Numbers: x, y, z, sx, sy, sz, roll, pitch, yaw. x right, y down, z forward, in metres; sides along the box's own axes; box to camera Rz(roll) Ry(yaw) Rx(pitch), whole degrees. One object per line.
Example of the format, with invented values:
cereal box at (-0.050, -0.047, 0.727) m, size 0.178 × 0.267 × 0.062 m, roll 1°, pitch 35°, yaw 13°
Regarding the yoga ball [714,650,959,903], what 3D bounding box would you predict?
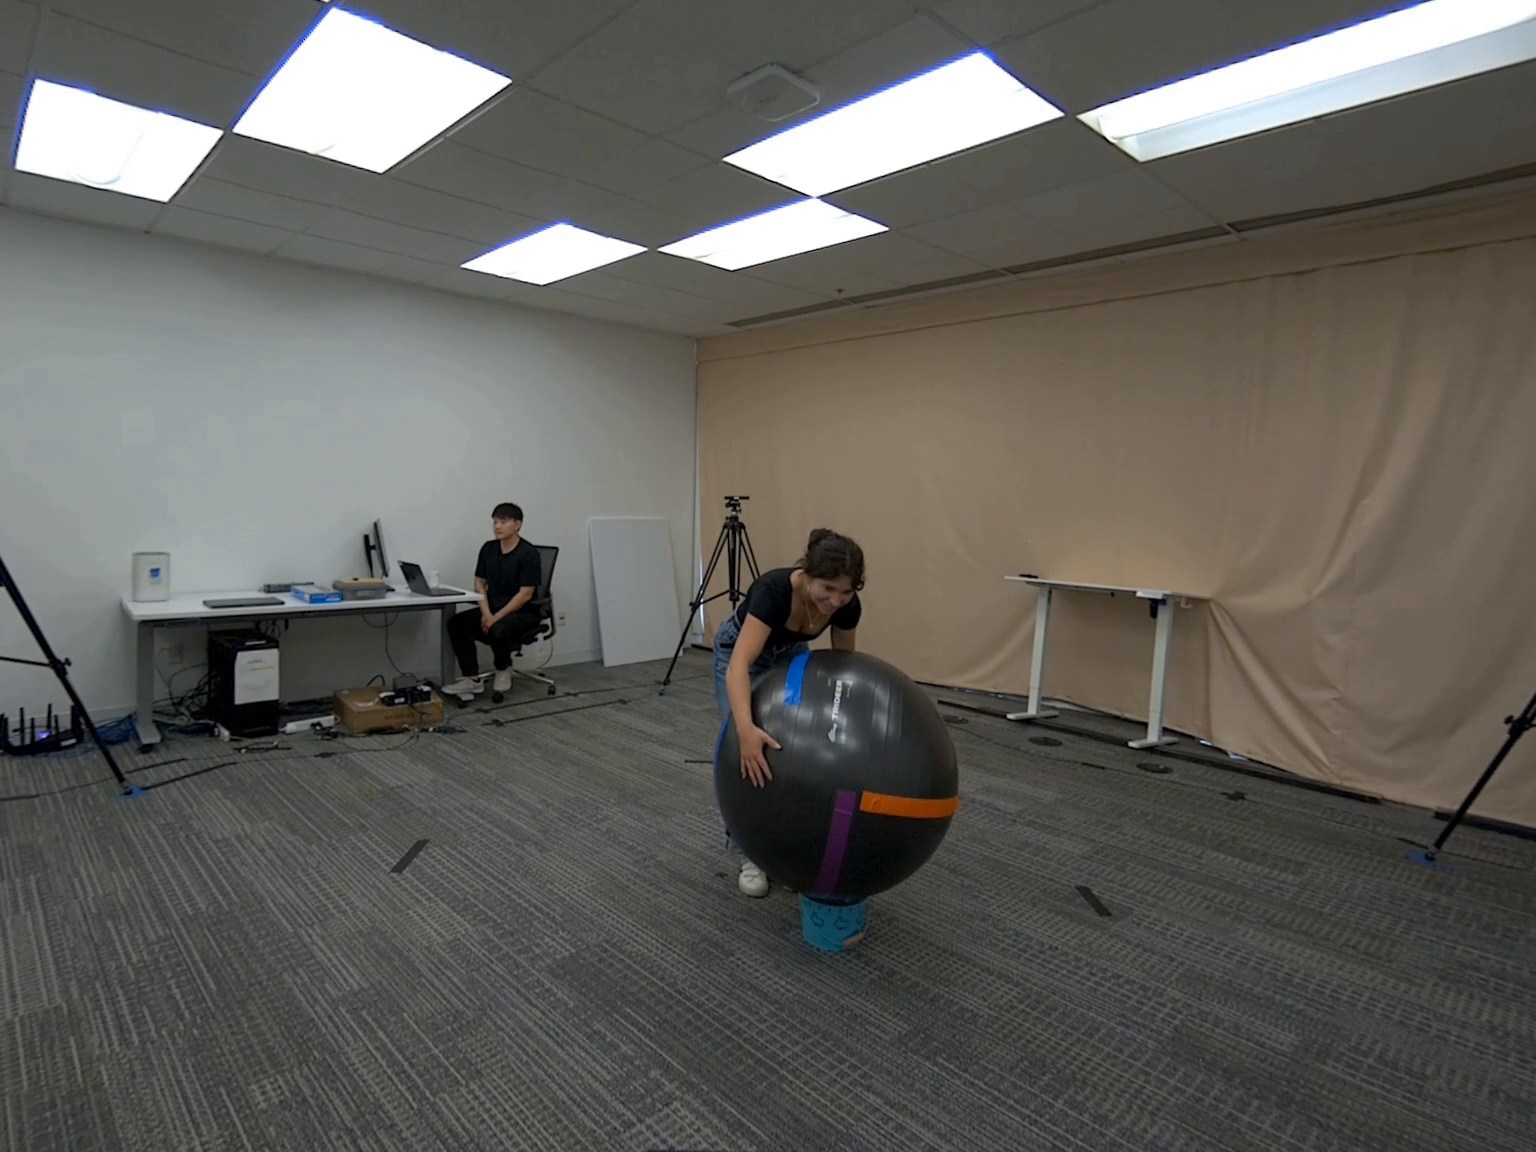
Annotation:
yoga ball at (0.210, 0.607, 2.644) m, size 0.757 × 0.756 × 0.761 m, roll 1°, pitch 4°, yaw -1°
